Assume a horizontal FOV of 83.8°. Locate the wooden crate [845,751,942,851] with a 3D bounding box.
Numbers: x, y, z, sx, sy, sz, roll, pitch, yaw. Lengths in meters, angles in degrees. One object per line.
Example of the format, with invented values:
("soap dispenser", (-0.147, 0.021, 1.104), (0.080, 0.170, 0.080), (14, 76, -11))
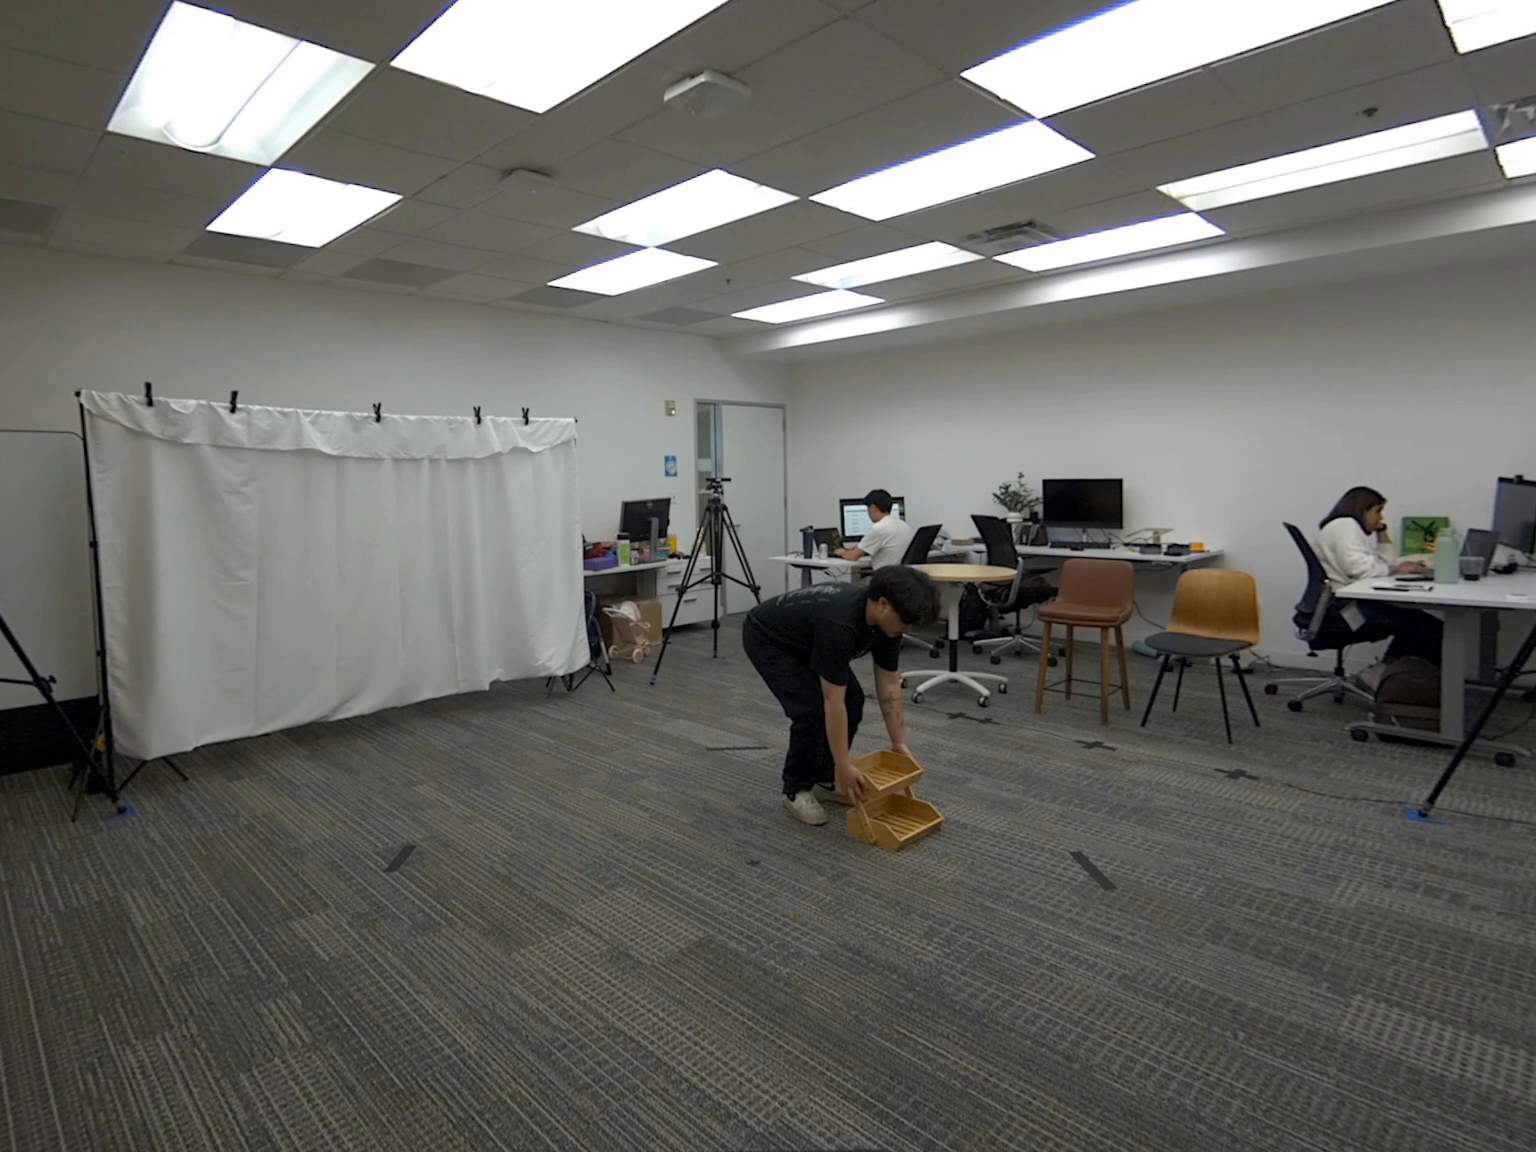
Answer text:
("wooden crate", (0.475, 0.864, 3.359), (0.311, 0.272, 0.316), (3, 6, 44))
